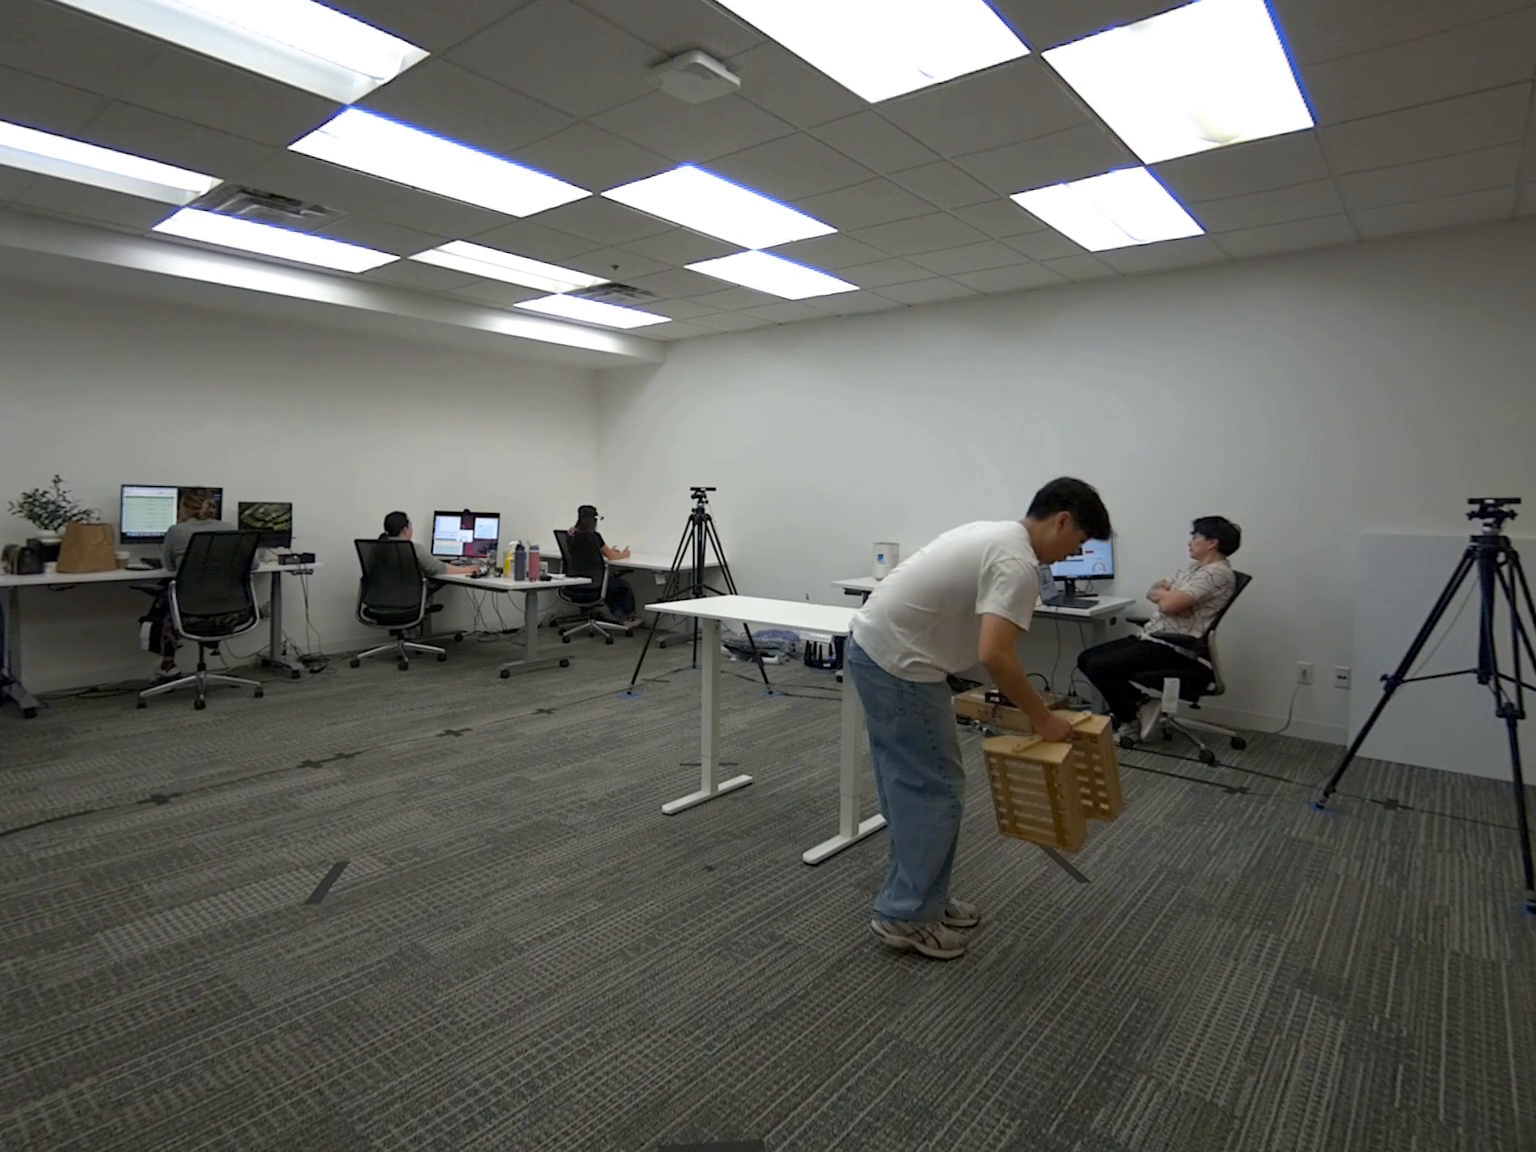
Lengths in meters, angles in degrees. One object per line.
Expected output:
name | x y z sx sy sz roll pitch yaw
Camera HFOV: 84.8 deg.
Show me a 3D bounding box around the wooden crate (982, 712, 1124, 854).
wooden crate | 0.844 0.601 2.543 0.312 0.318 0.270 2 24 42
